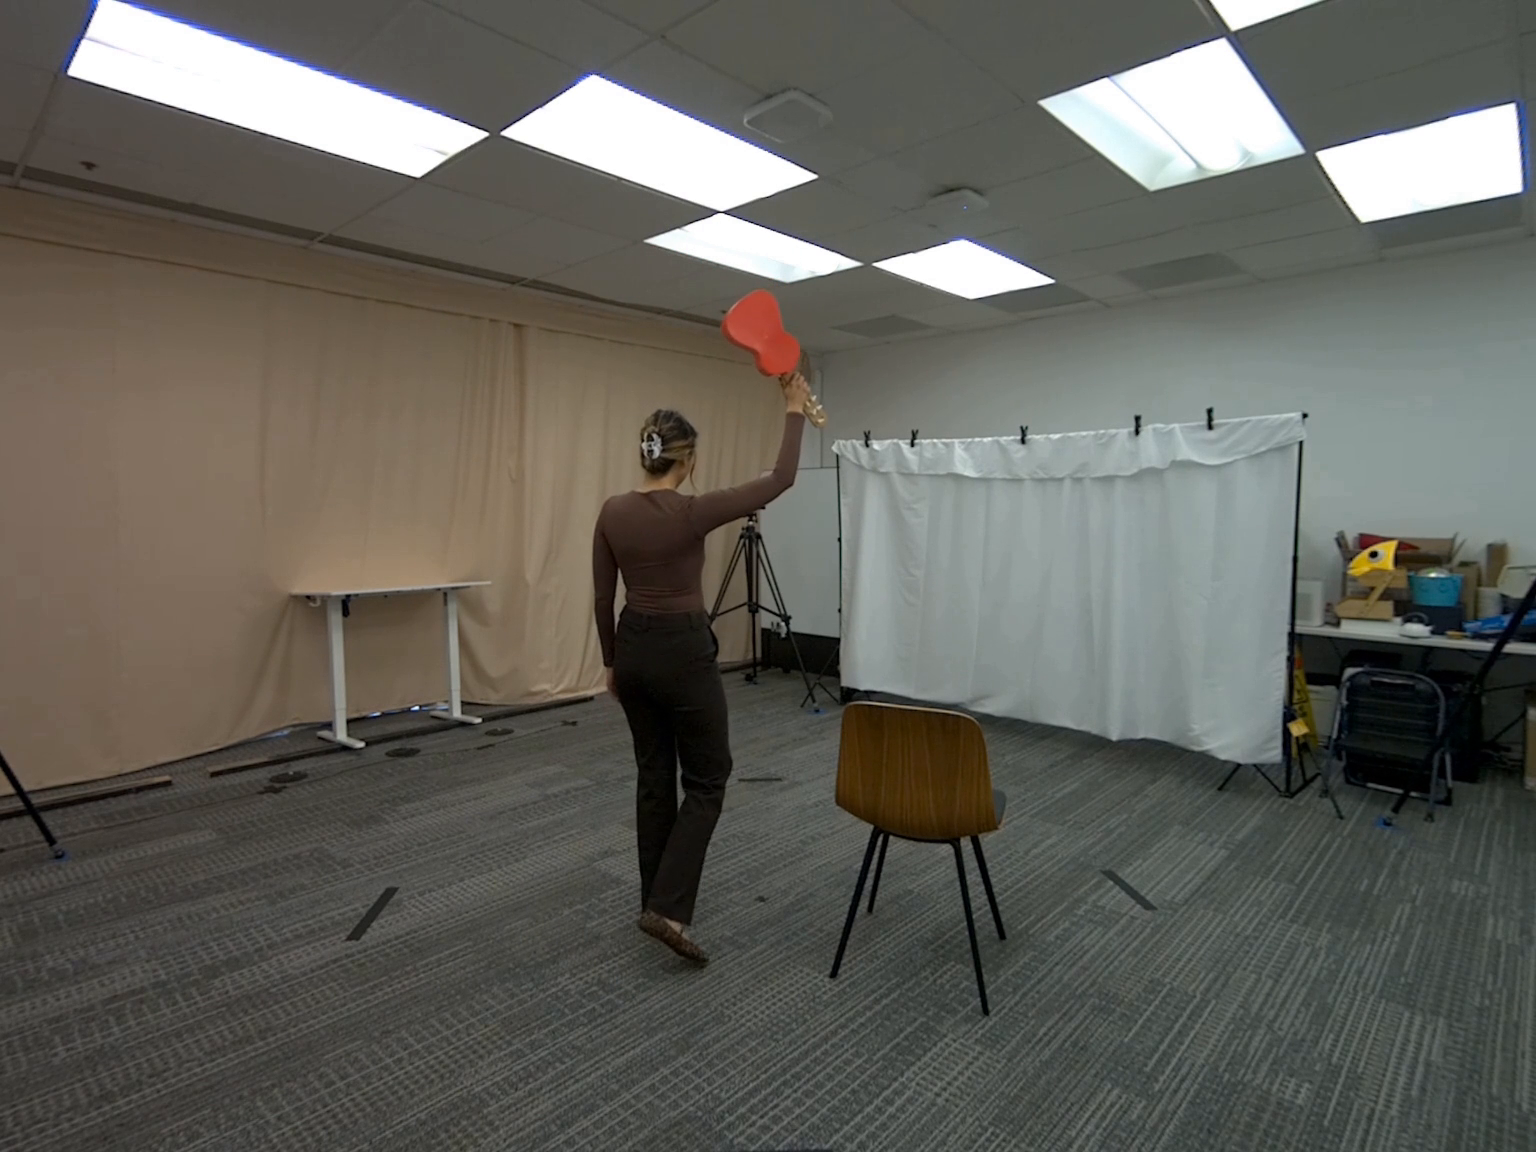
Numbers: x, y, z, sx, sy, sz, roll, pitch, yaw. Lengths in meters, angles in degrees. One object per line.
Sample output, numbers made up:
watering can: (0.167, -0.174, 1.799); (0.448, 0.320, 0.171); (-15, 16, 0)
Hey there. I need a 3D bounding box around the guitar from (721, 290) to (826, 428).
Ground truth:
guitar: (0.071, -0.716, 2.769); (0.488, 0.192, 0.072); (42, -11, -16)
